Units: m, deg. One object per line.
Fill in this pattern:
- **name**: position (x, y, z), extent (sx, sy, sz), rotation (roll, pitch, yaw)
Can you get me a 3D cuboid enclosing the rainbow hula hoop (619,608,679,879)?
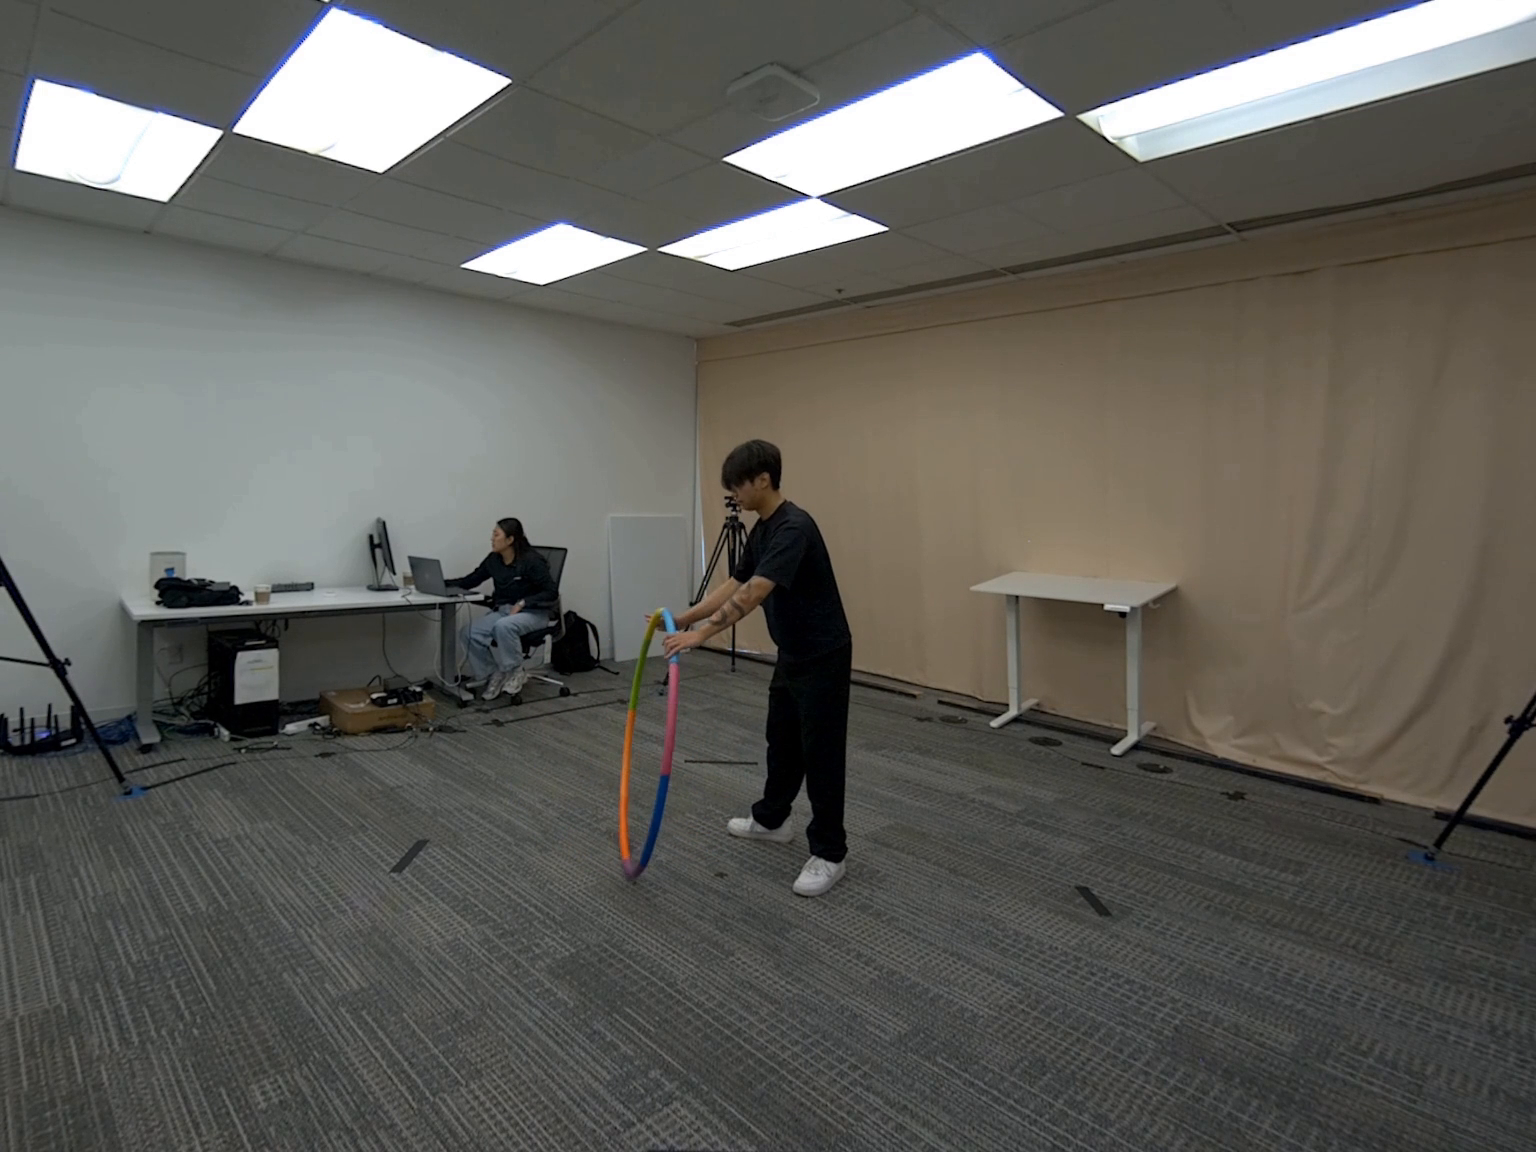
- **rainbow hula hoop**: position (-0.463, 0.614, 3.158), extent (0.035, 0.977, 0.992), rotation (8, 3, -15)
